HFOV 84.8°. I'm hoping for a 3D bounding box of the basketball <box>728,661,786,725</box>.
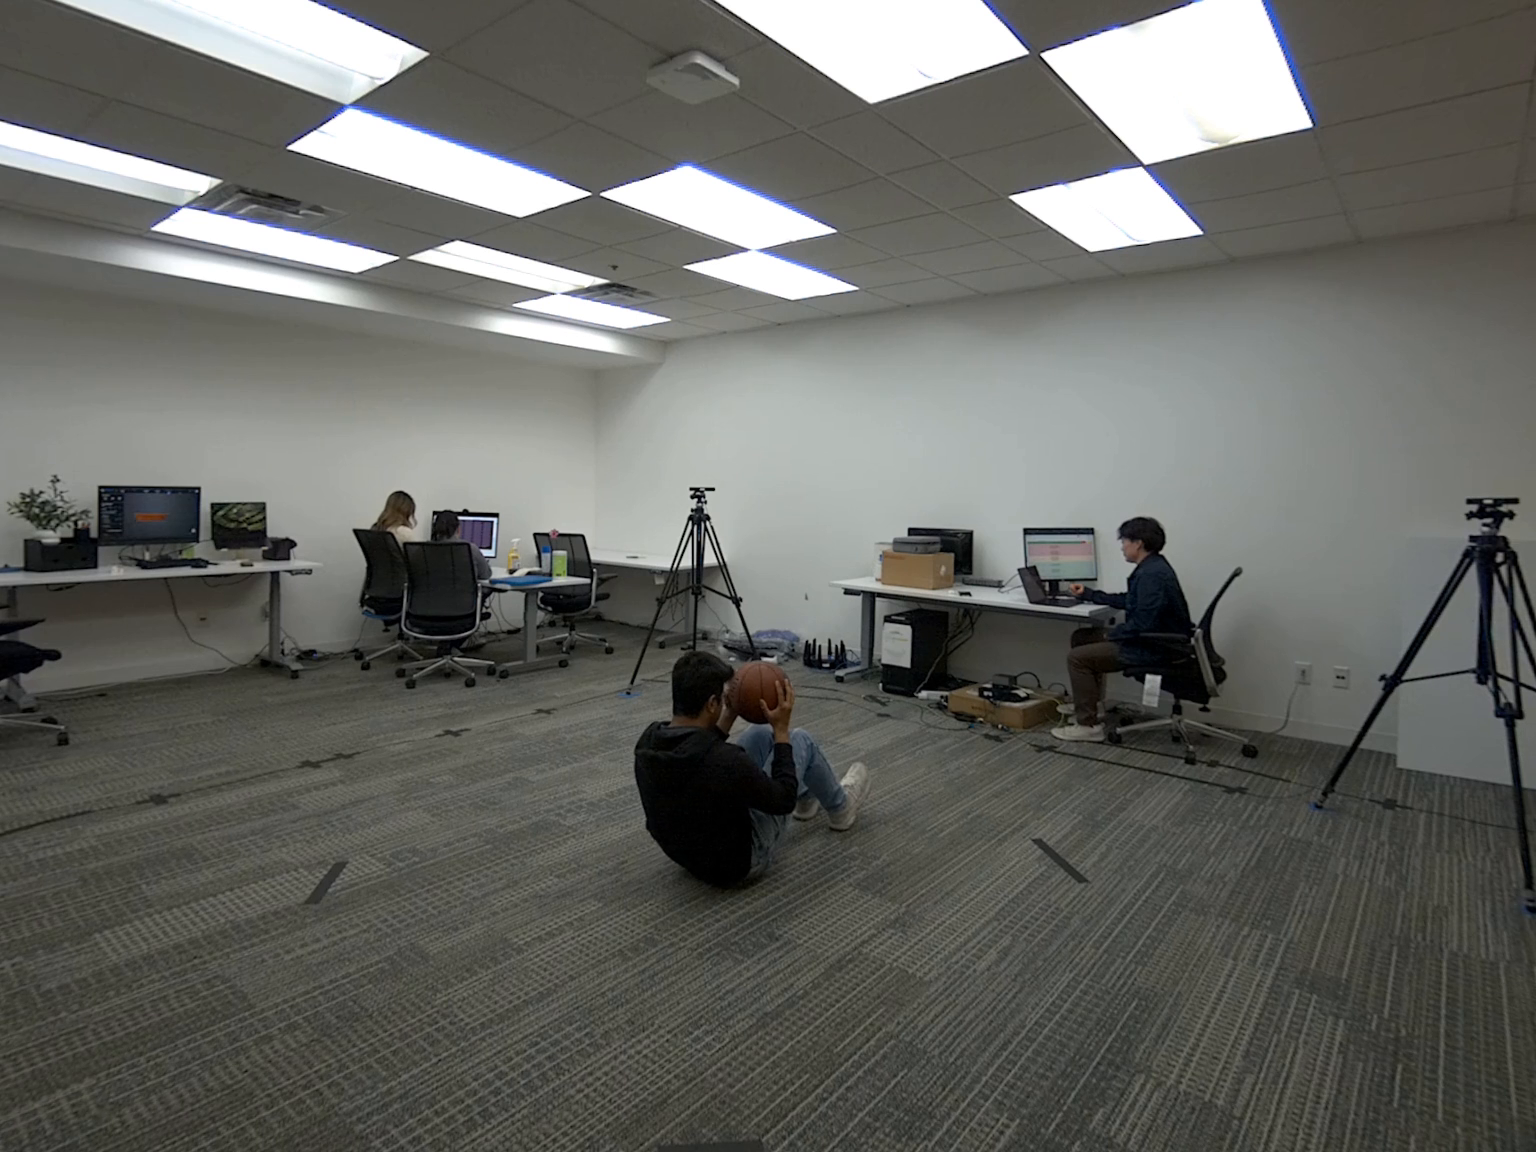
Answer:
[{"bbox_3d":[-0.046,0.432,3.216,0.235,0.235,0.237,1,4,-2],"label":"basketball"}]
